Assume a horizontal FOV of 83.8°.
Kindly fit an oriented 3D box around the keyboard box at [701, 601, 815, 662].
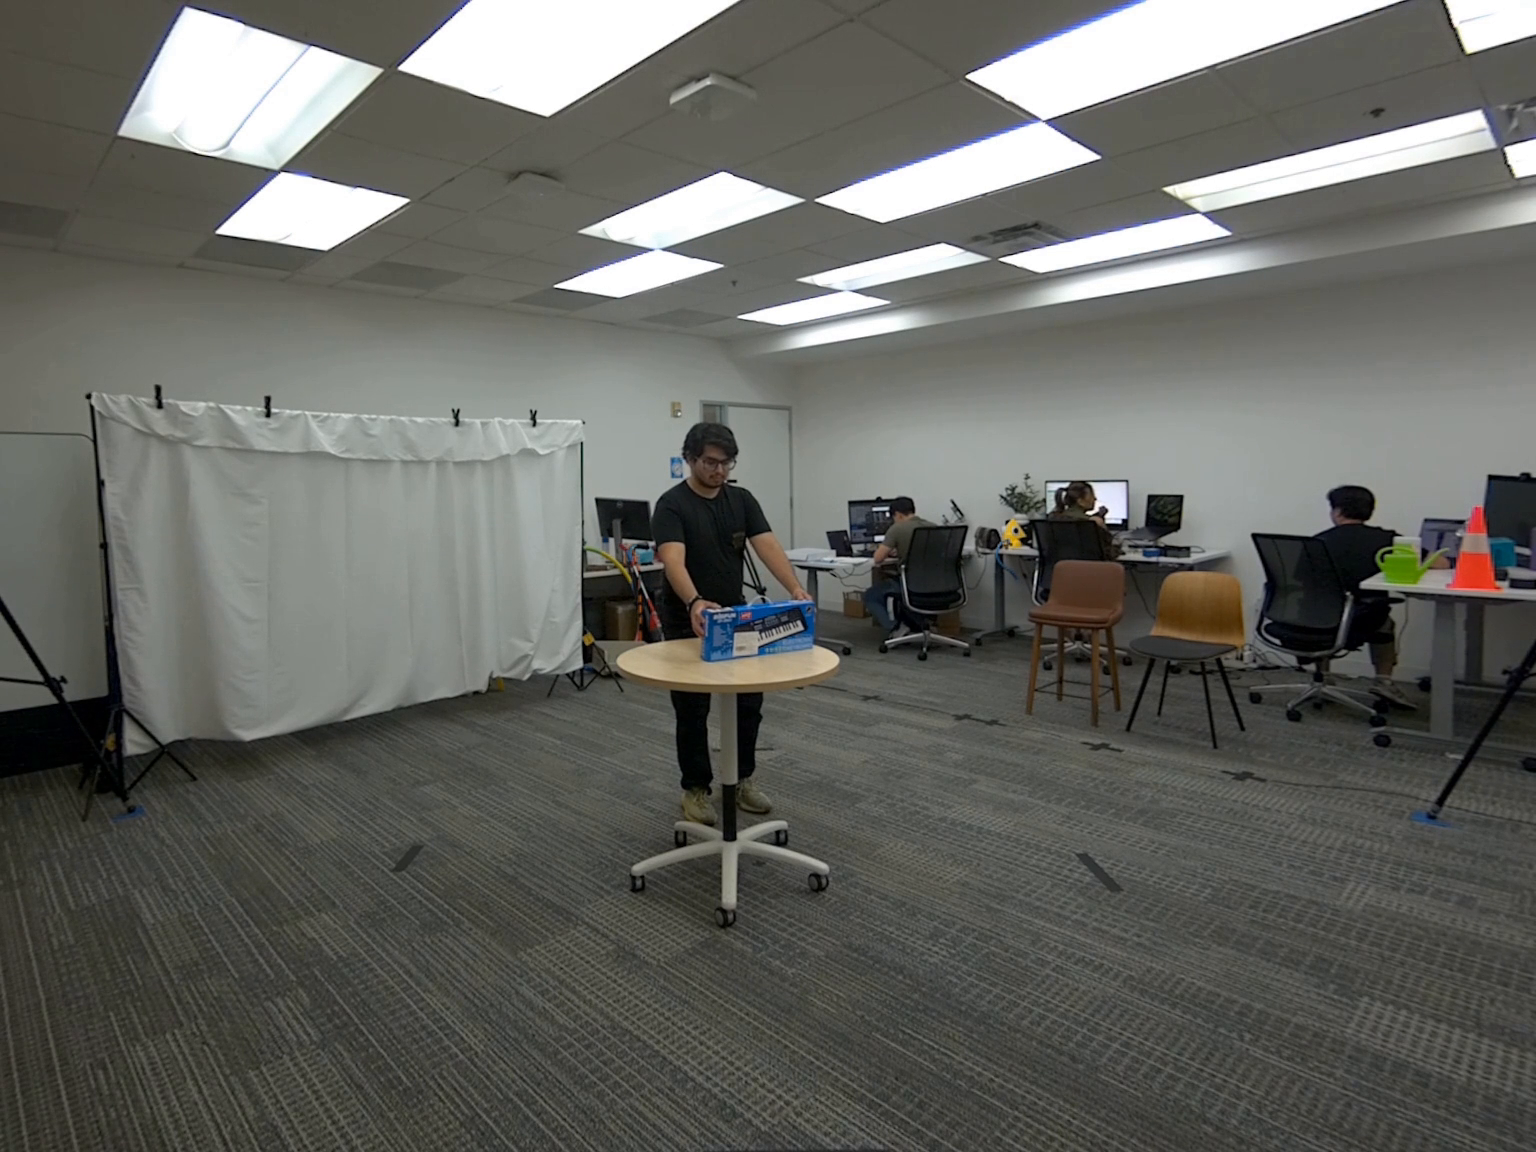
[{"bbox_3d":[-0.032,0.191,3.005,0.426,0.175,0.061,-4,7,-30],"label":"keyboard box"}]
